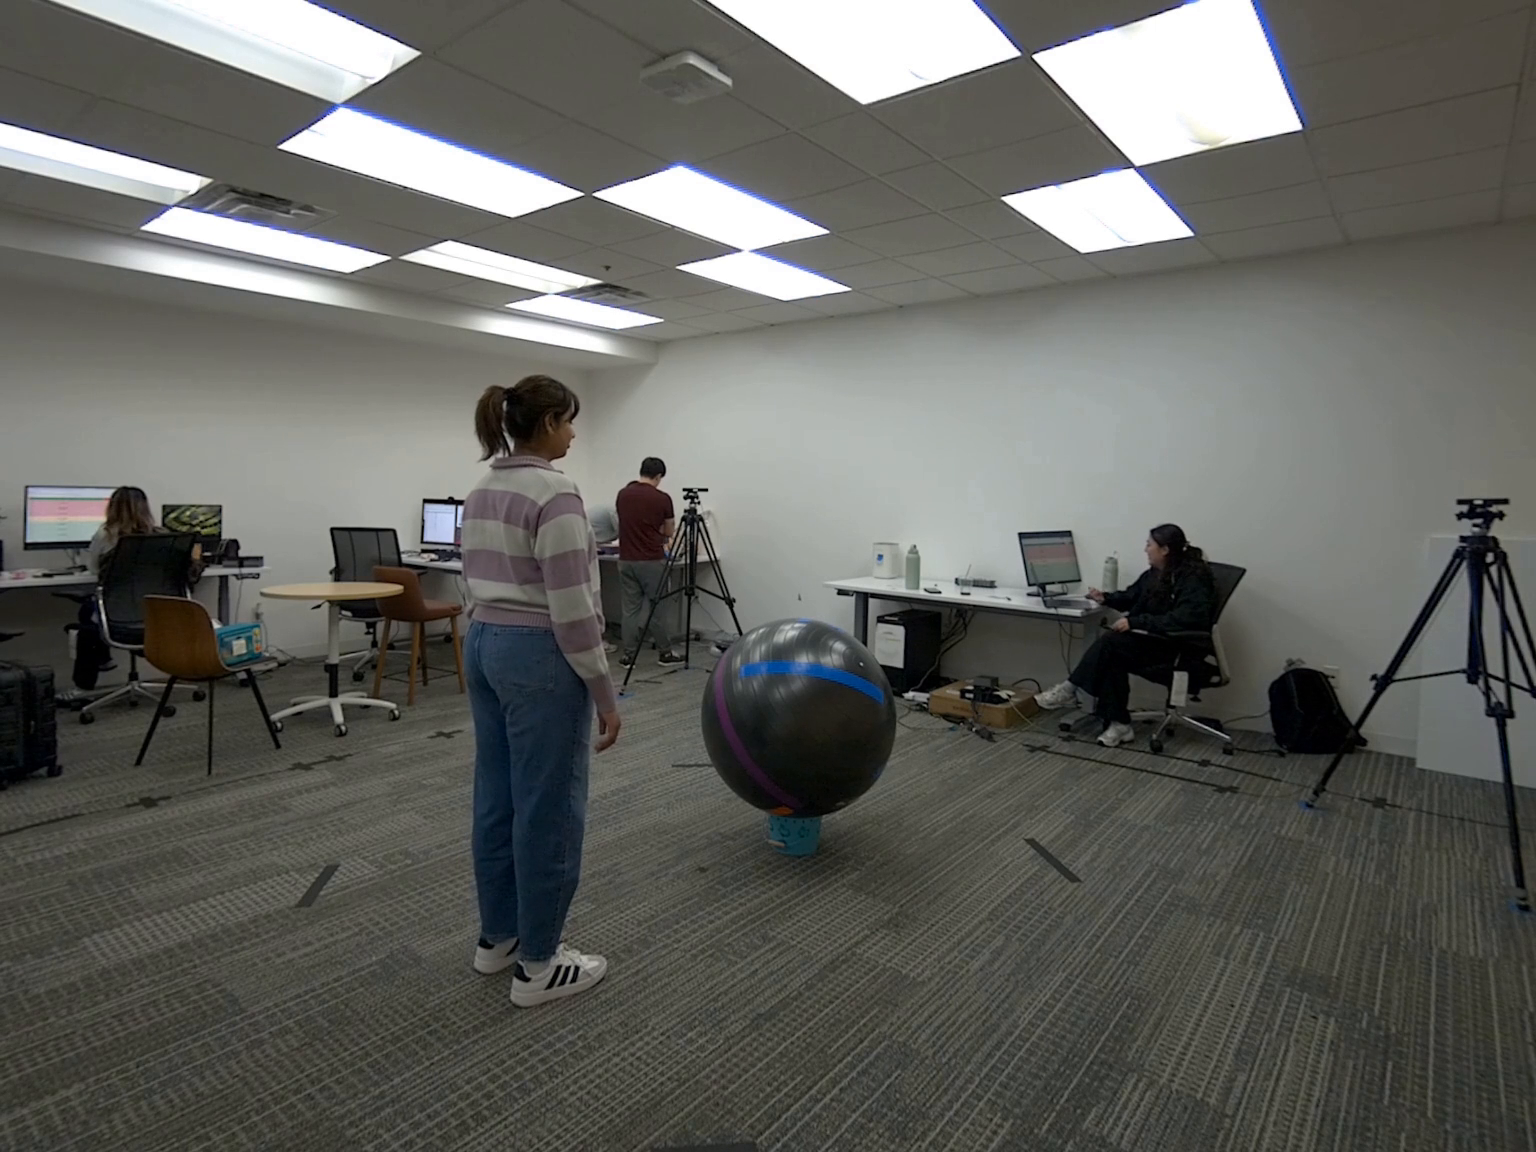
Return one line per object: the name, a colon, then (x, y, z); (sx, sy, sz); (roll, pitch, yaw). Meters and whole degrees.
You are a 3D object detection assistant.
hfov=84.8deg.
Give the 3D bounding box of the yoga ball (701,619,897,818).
yoga ball: (0.116, 0.547, 3.318); (0.757, 0.755, 0.762); (1, 4, -2)
